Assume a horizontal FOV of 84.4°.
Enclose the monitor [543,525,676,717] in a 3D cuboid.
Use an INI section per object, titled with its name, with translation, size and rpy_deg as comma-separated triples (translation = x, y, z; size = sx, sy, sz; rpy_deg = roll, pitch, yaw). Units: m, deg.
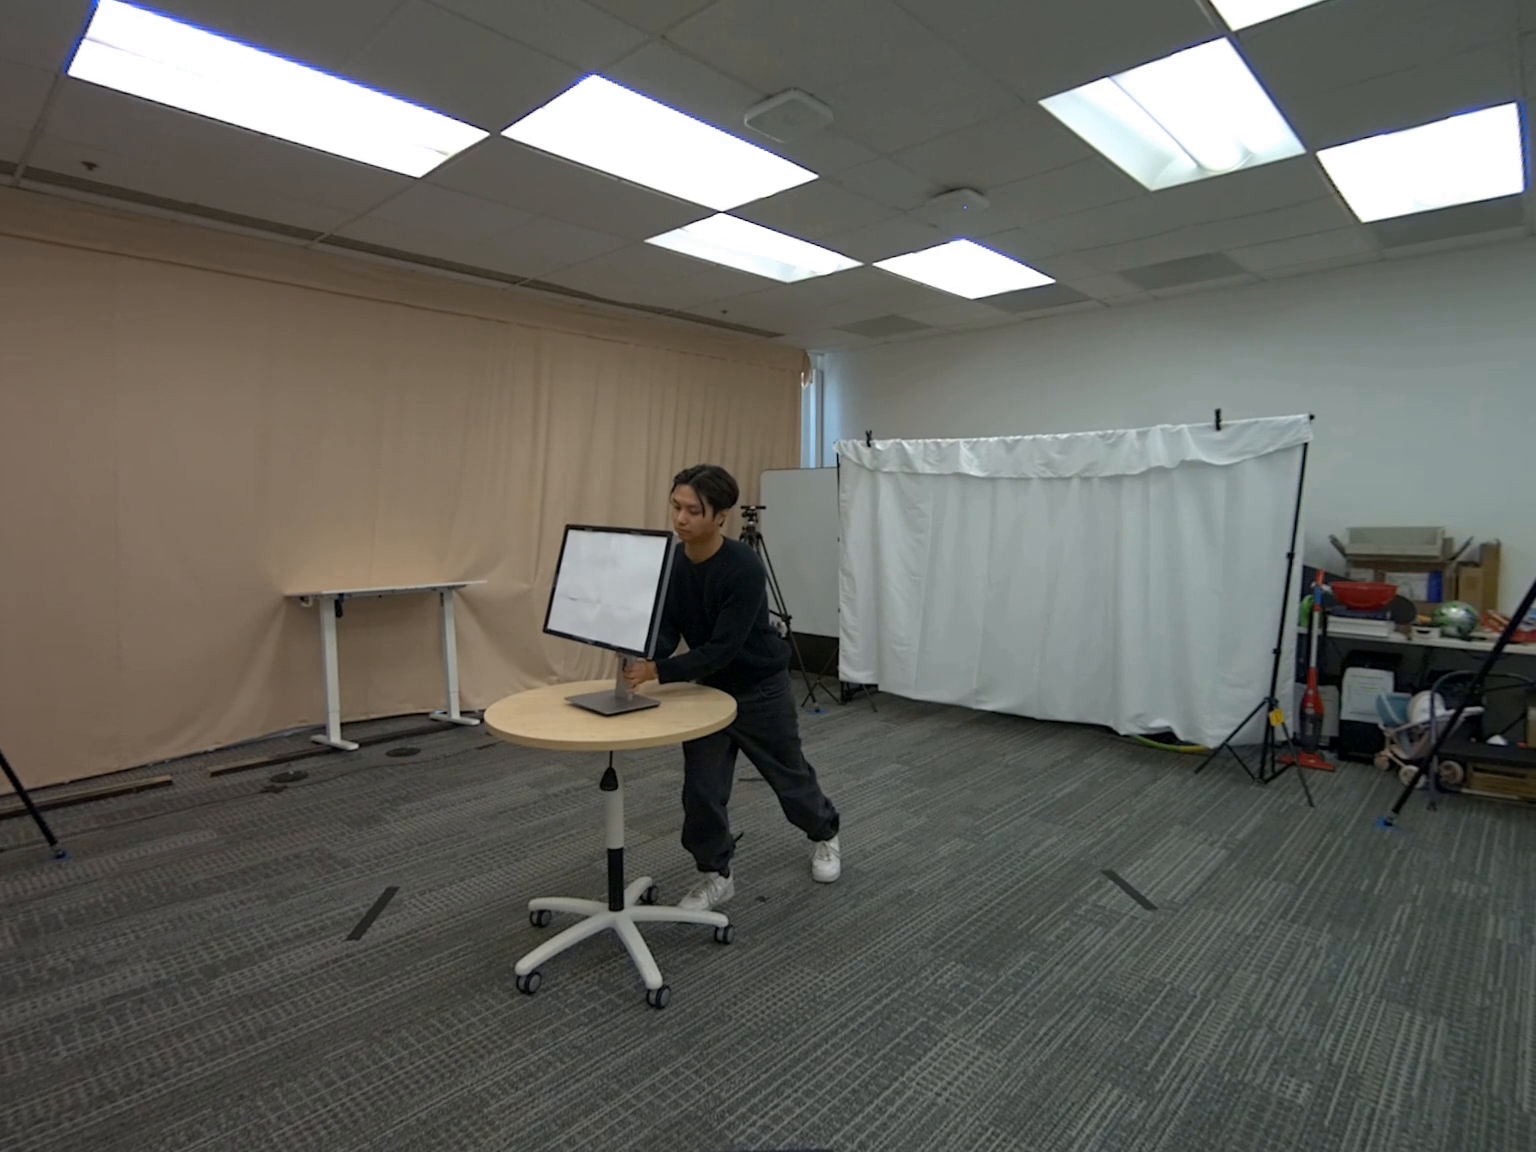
[monitor]
translation = -0.475, 0.123, 2.577
size = 0.169, 0.514, 0.548
rpy_deg = -7, 10, -45
